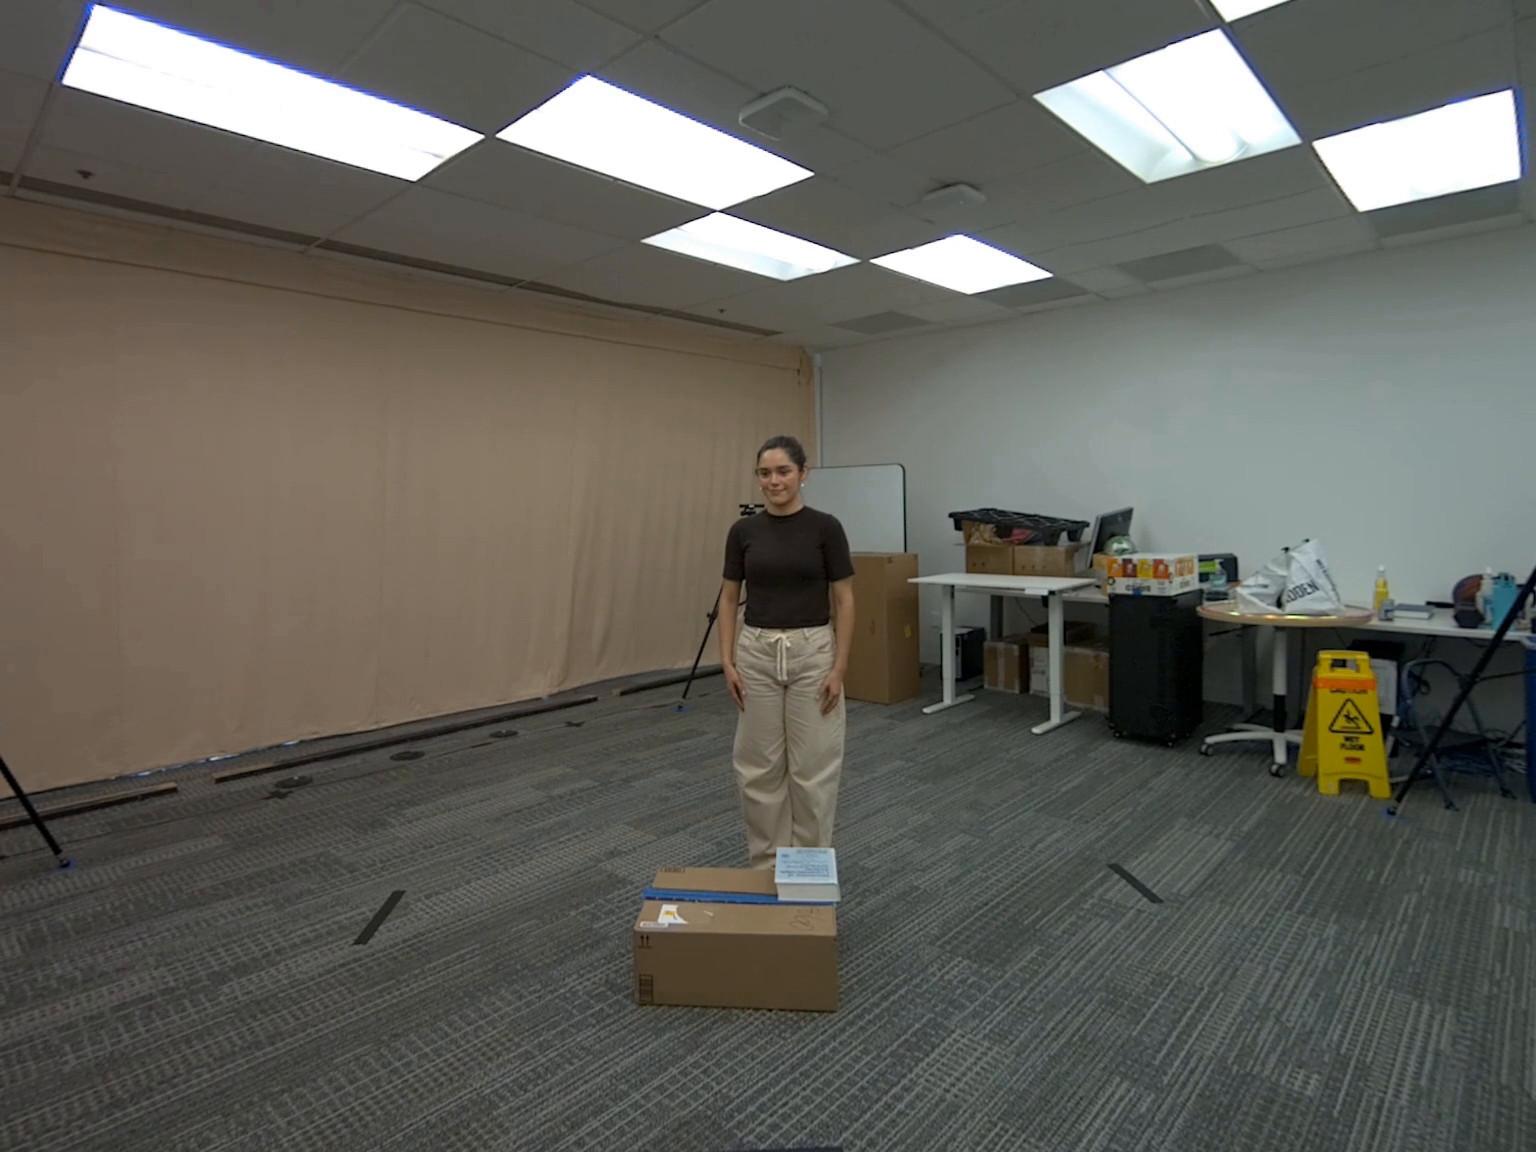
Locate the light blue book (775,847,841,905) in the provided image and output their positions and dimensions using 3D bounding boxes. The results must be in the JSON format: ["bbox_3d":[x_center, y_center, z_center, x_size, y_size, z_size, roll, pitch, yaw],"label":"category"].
[{"bbox_3d":[0.117,0.918,2.621,0.192,0.059,0.260,-2,4,3],"label":"light blue book"}]
